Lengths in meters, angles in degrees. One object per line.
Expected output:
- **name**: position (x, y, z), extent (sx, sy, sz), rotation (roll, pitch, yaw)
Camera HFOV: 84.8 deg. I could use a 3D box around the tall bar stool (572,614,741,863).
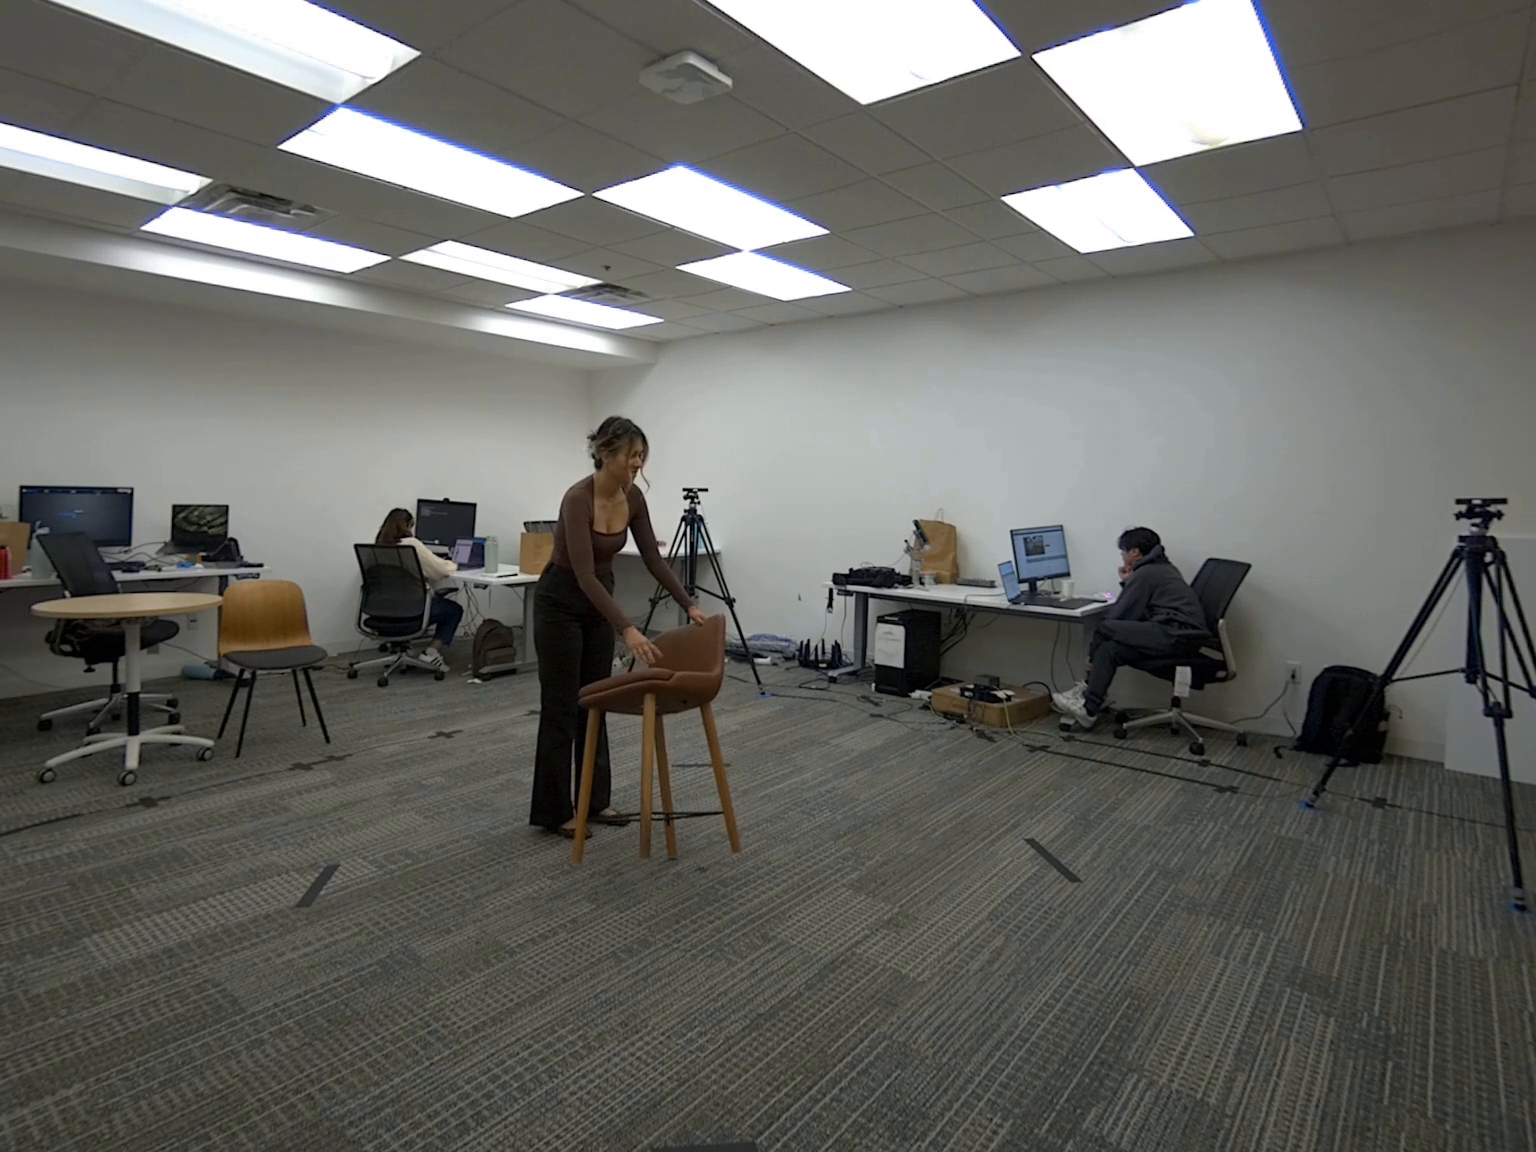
- **tall bar stool**: position (-0.420, 0.563, 3.100), extent (0.450, 0.908, 0.465), rotation (16, -28, -42)
